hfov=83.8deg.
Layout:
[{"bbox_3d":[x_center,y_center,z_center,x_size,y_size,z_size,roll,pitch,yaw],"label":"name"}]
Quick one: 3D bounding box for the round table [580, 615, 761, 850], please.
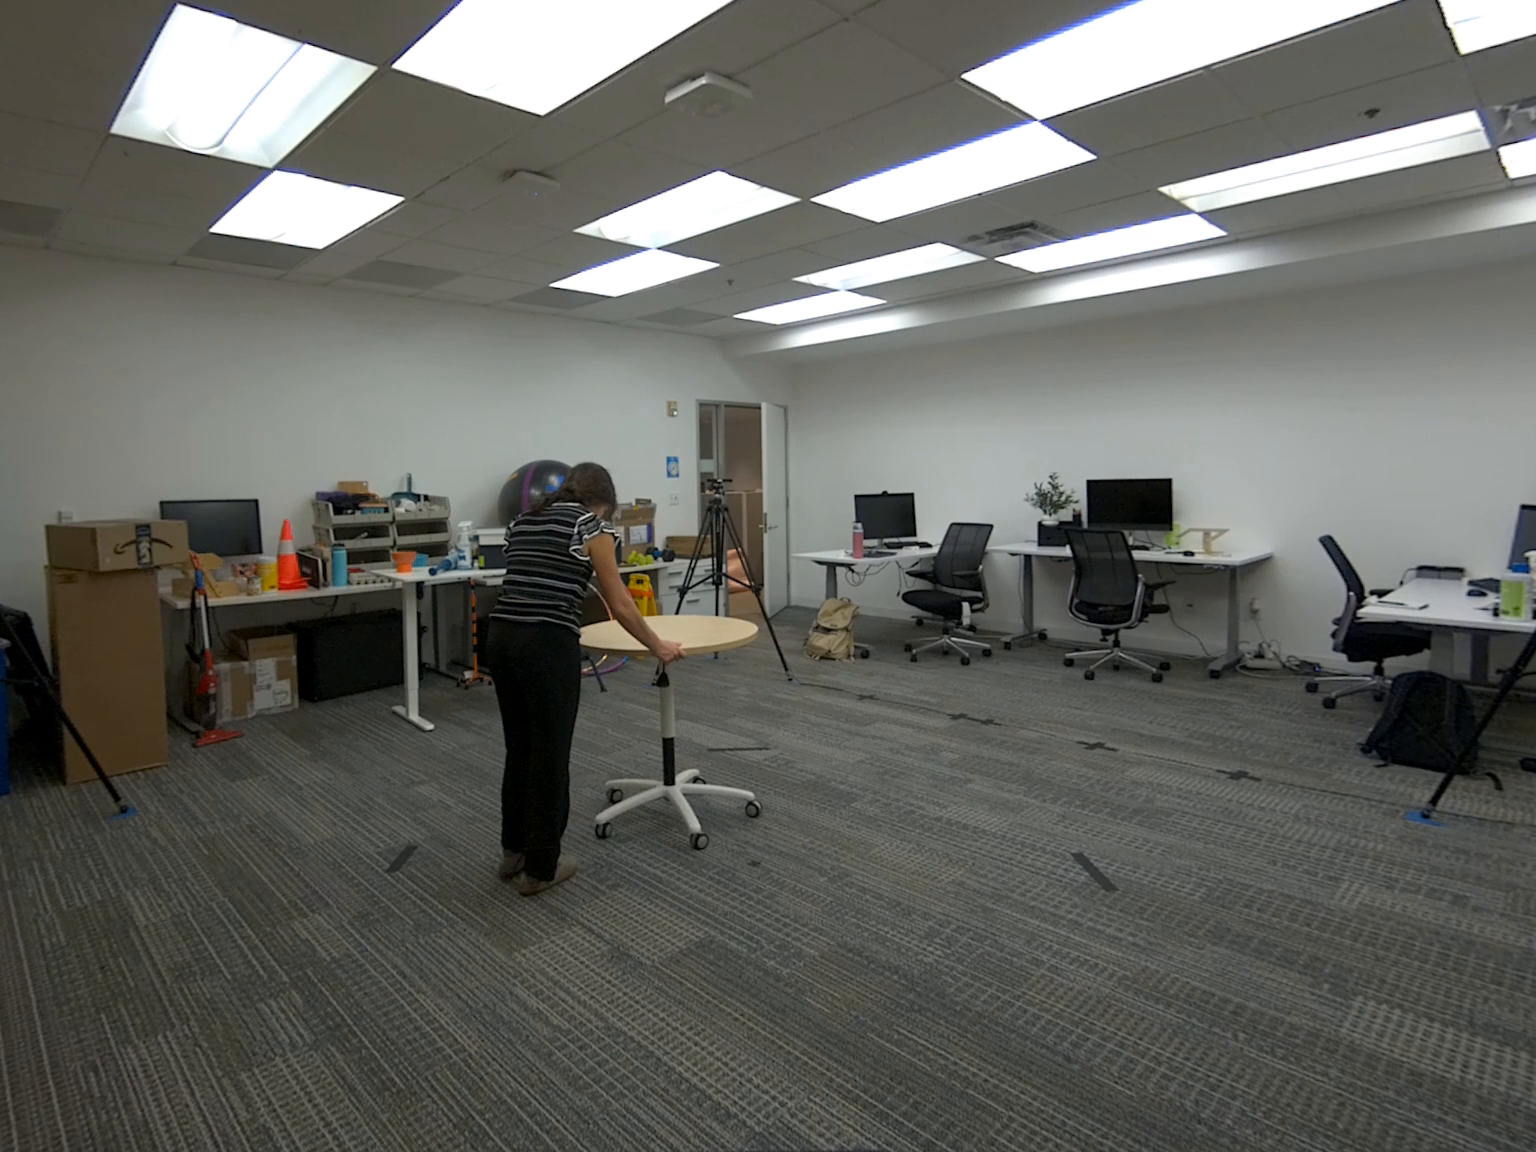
[{"bbox_3d":[-0.403,0.615,3.526,0.763,0.791,0.768,-2,5,-2],"label":"round table"}]
